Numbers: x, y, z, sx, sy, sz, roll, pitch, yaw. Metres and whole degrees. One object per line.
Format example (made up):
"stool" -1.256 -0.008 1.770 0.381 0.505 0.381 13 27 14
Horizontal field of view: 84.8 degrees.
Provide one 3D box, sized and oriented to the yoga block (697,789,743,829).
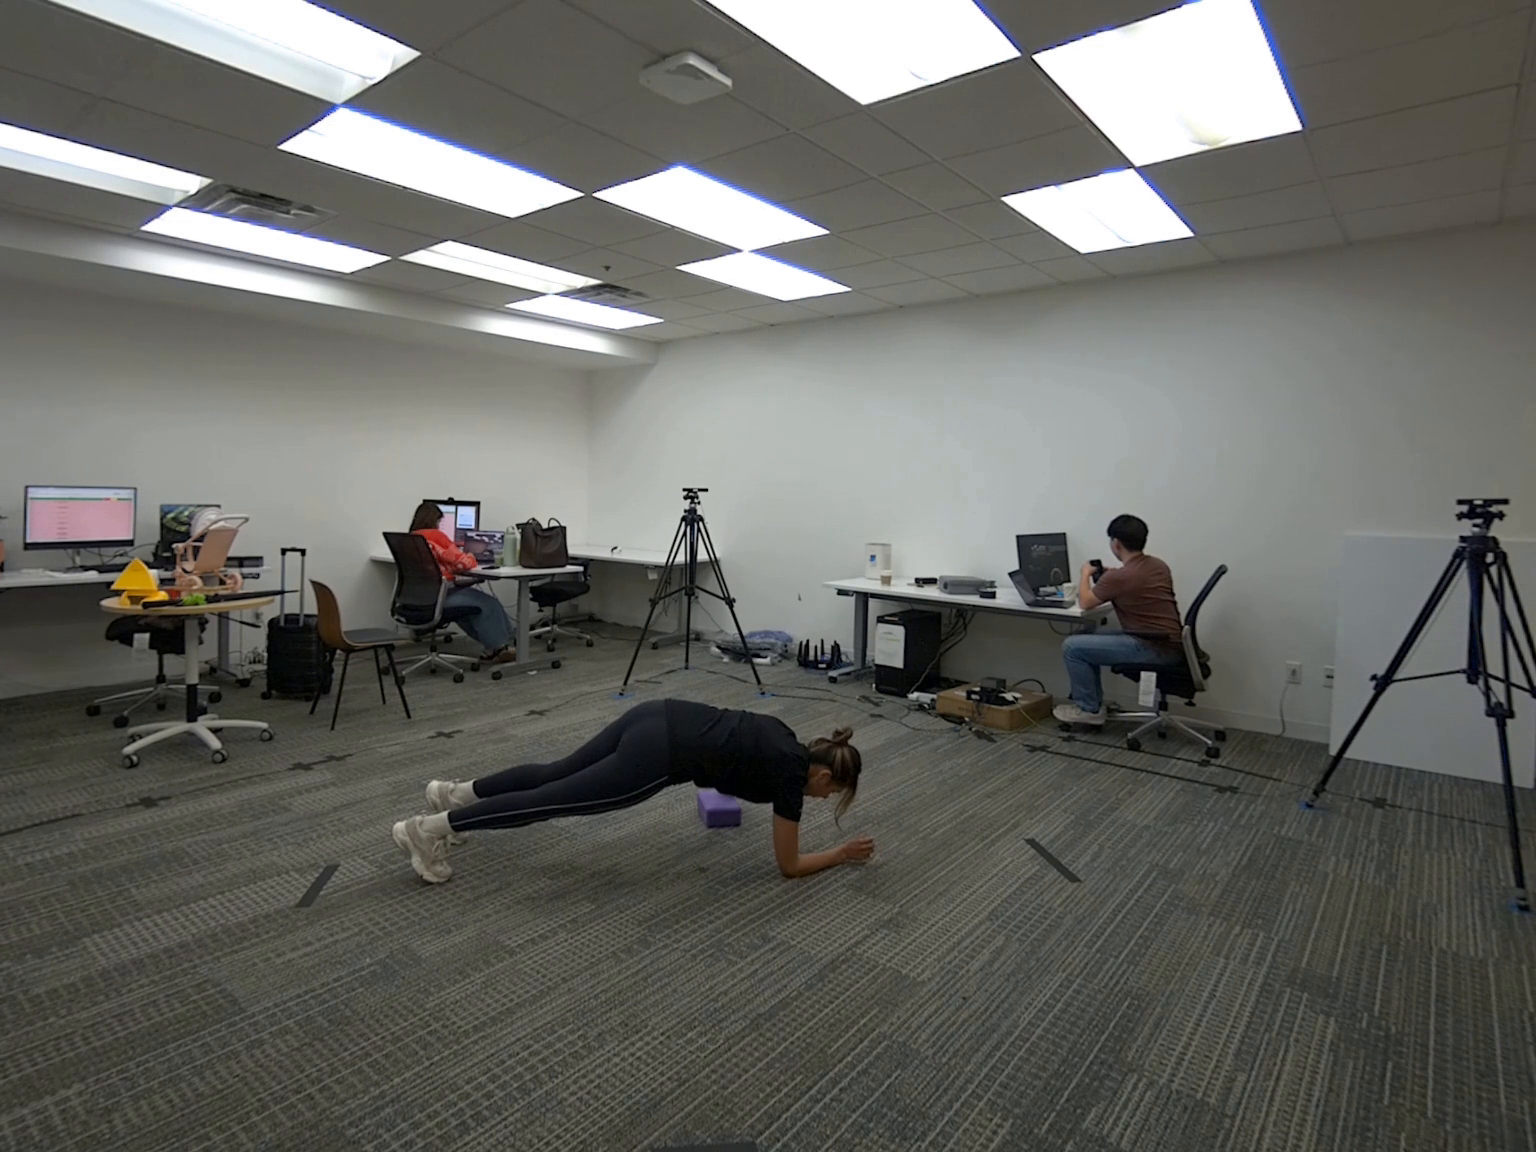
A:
"yoga block" -0.216 0.973 3.614 0.147 0.076 0.234 -1 7 -14
